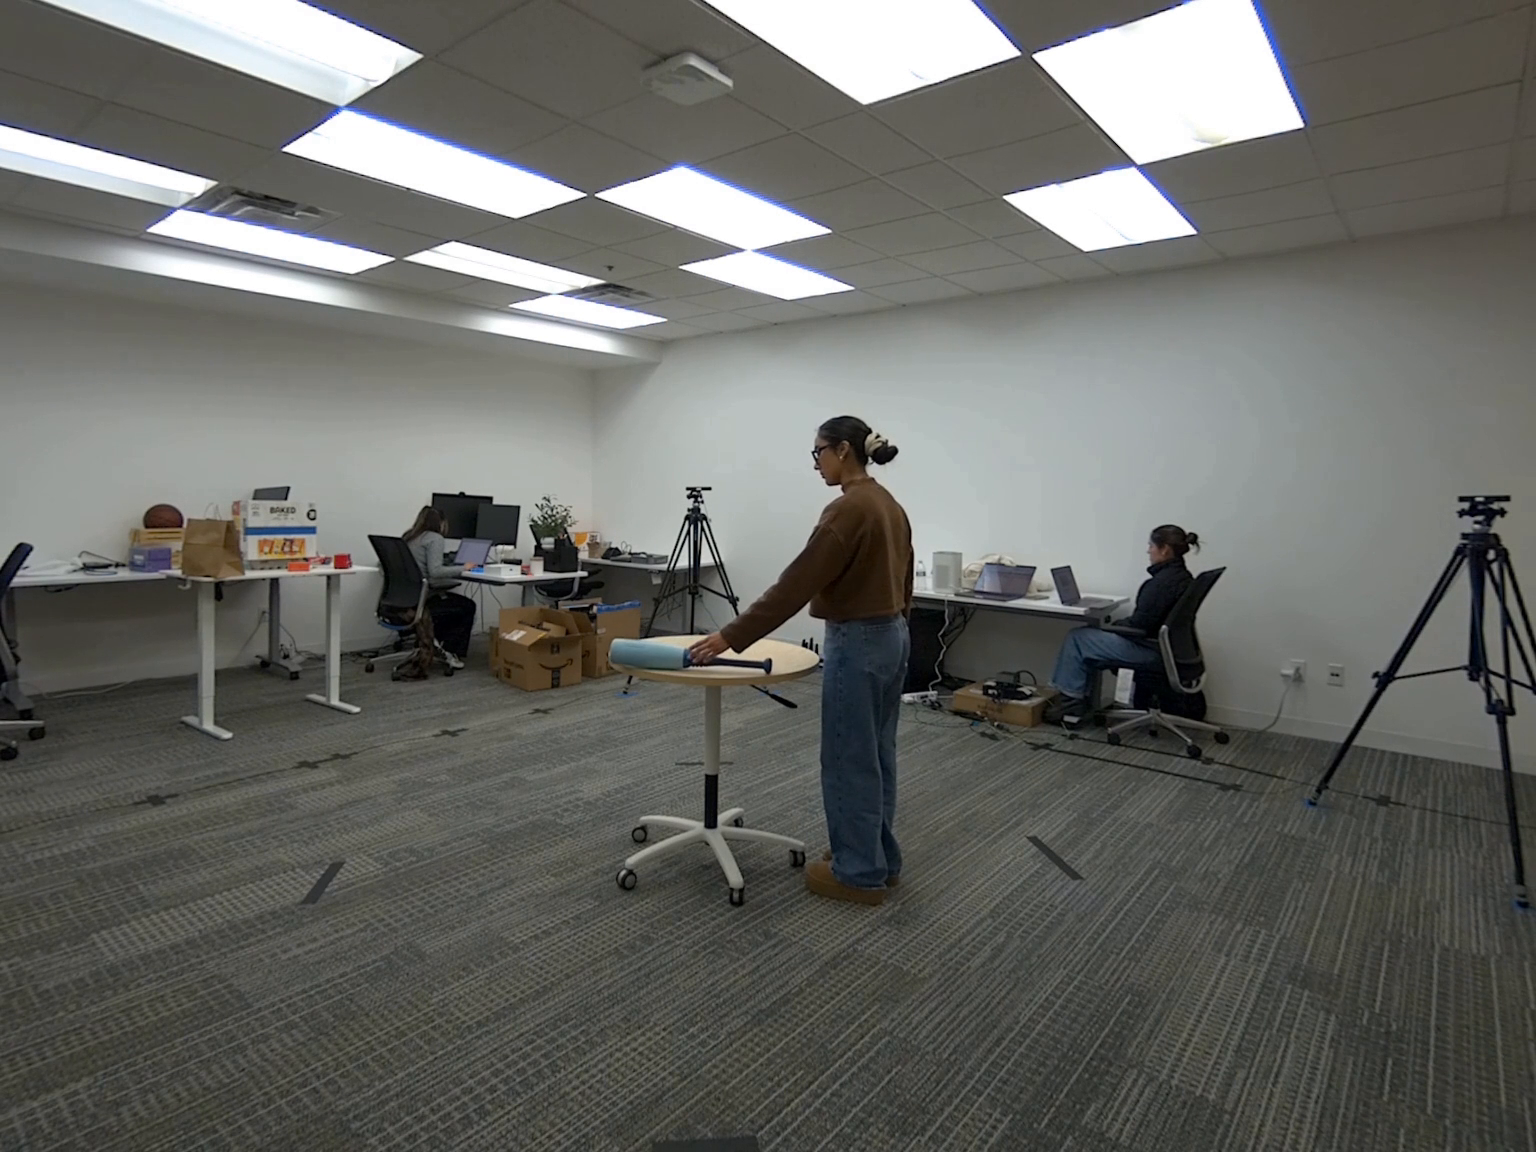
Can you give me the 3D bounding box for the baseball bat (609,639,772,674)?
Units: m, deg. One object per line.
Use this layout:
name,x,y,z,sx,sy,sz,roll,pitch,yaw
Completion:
baseball bat,-0.267,0.280,2.826,0.547,0.089,0.089,6,4,6
